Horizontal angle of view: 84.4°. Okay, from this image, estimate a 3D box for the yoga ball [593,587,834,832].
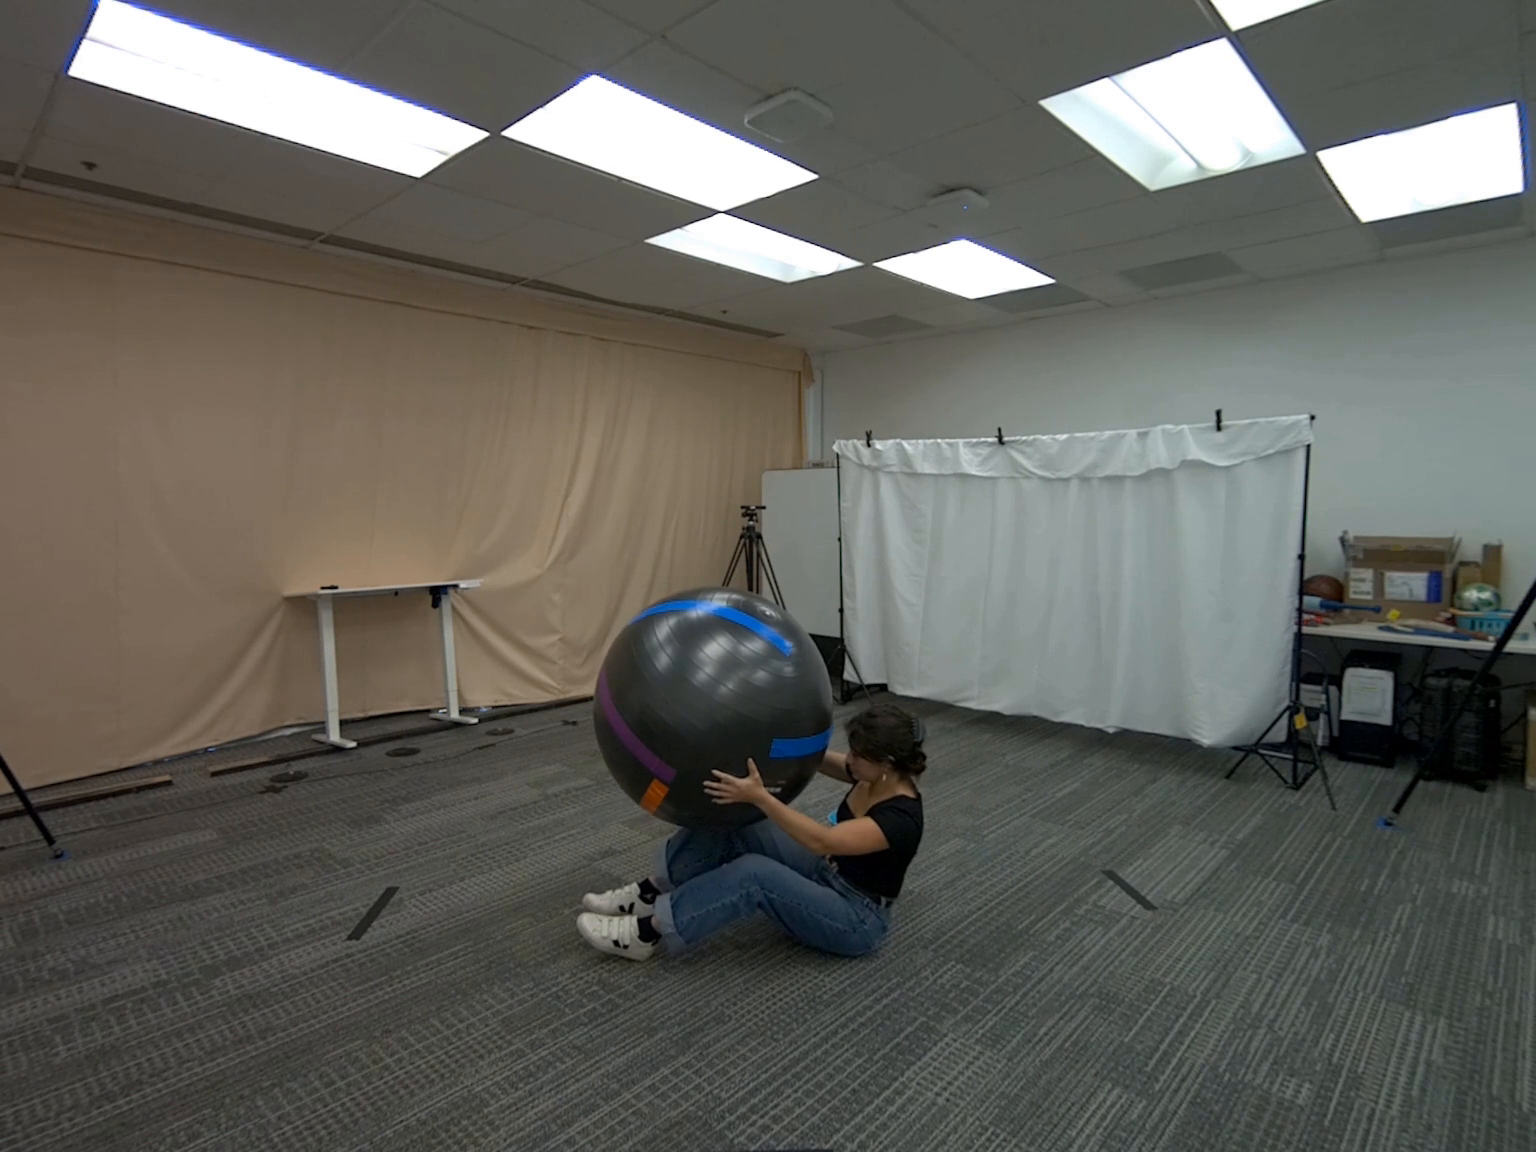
[{"bbox_3d":[-0.163,0.416,2.681,0.757,0.756,0.761,0,4,-2],"label":"yoga ball"}]
